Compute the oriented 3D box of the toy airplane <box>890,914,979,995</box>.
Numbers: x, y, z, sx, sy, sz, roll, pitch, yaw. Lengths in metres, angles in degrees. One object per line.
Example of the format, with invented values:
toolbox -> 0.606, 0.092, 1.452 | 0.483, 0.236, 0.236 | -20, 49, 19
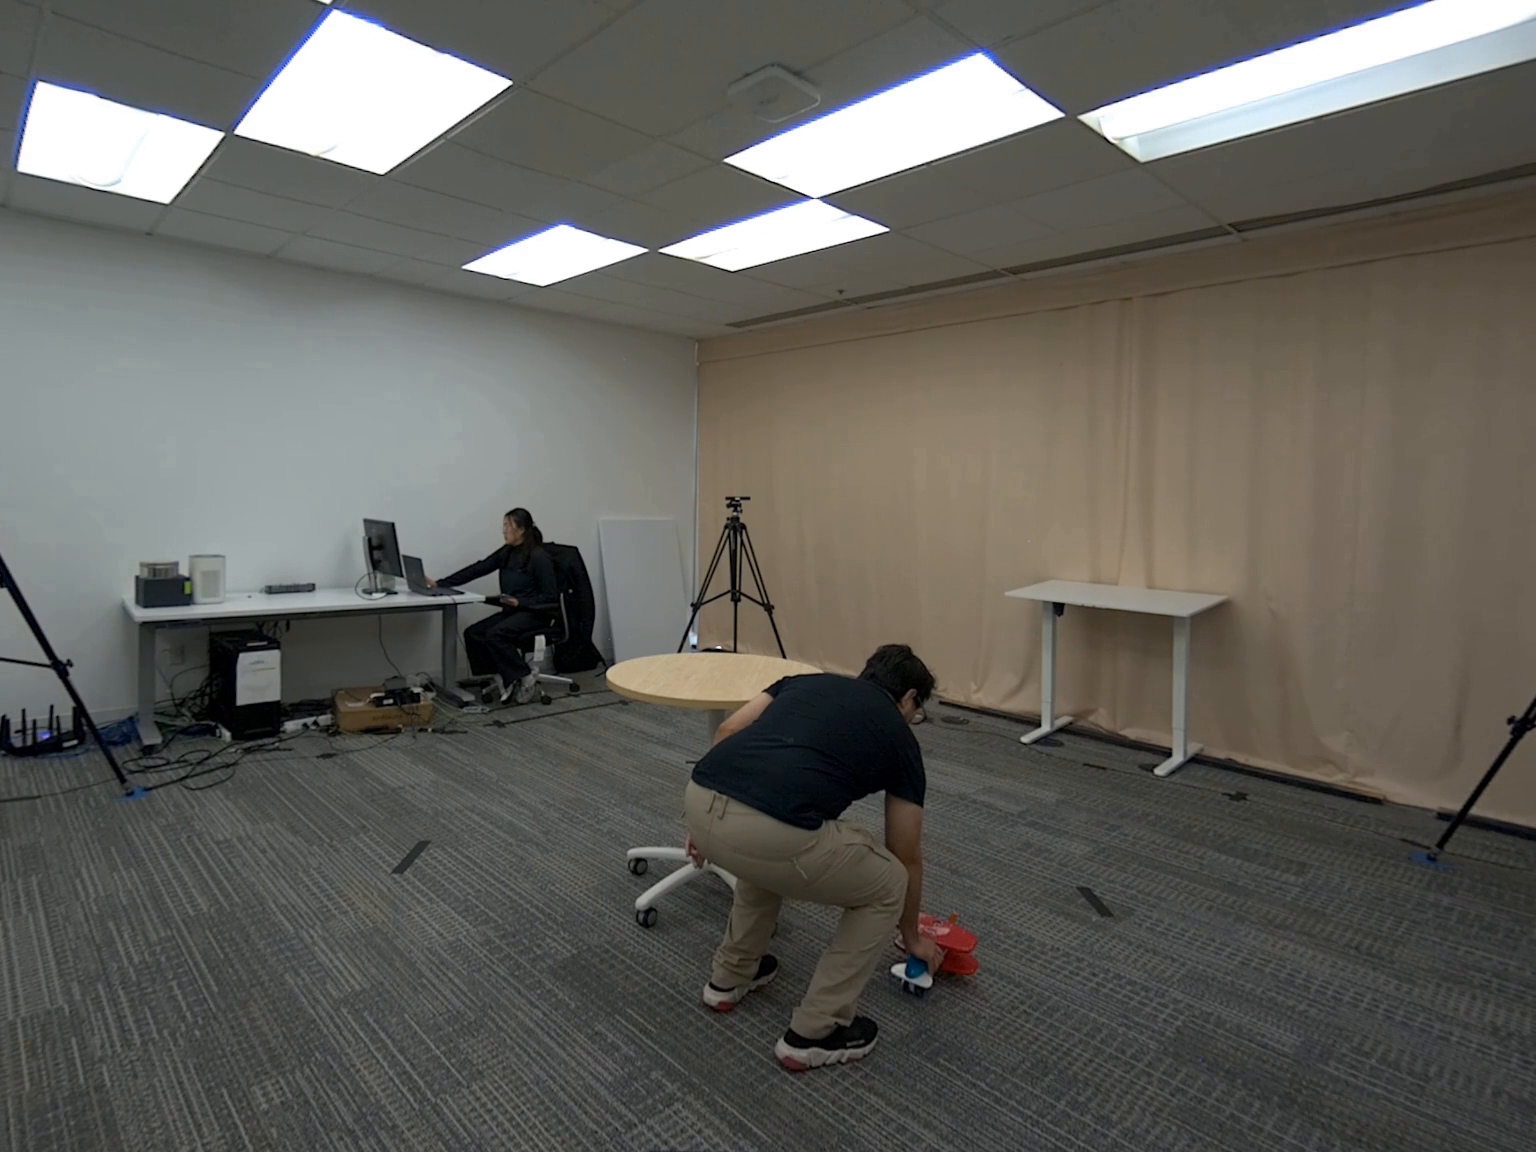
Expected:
toy airplane -> 0.485, 1.111, 2.448 | 0.253, 0.156, 0.258 | 2, 3, 8
